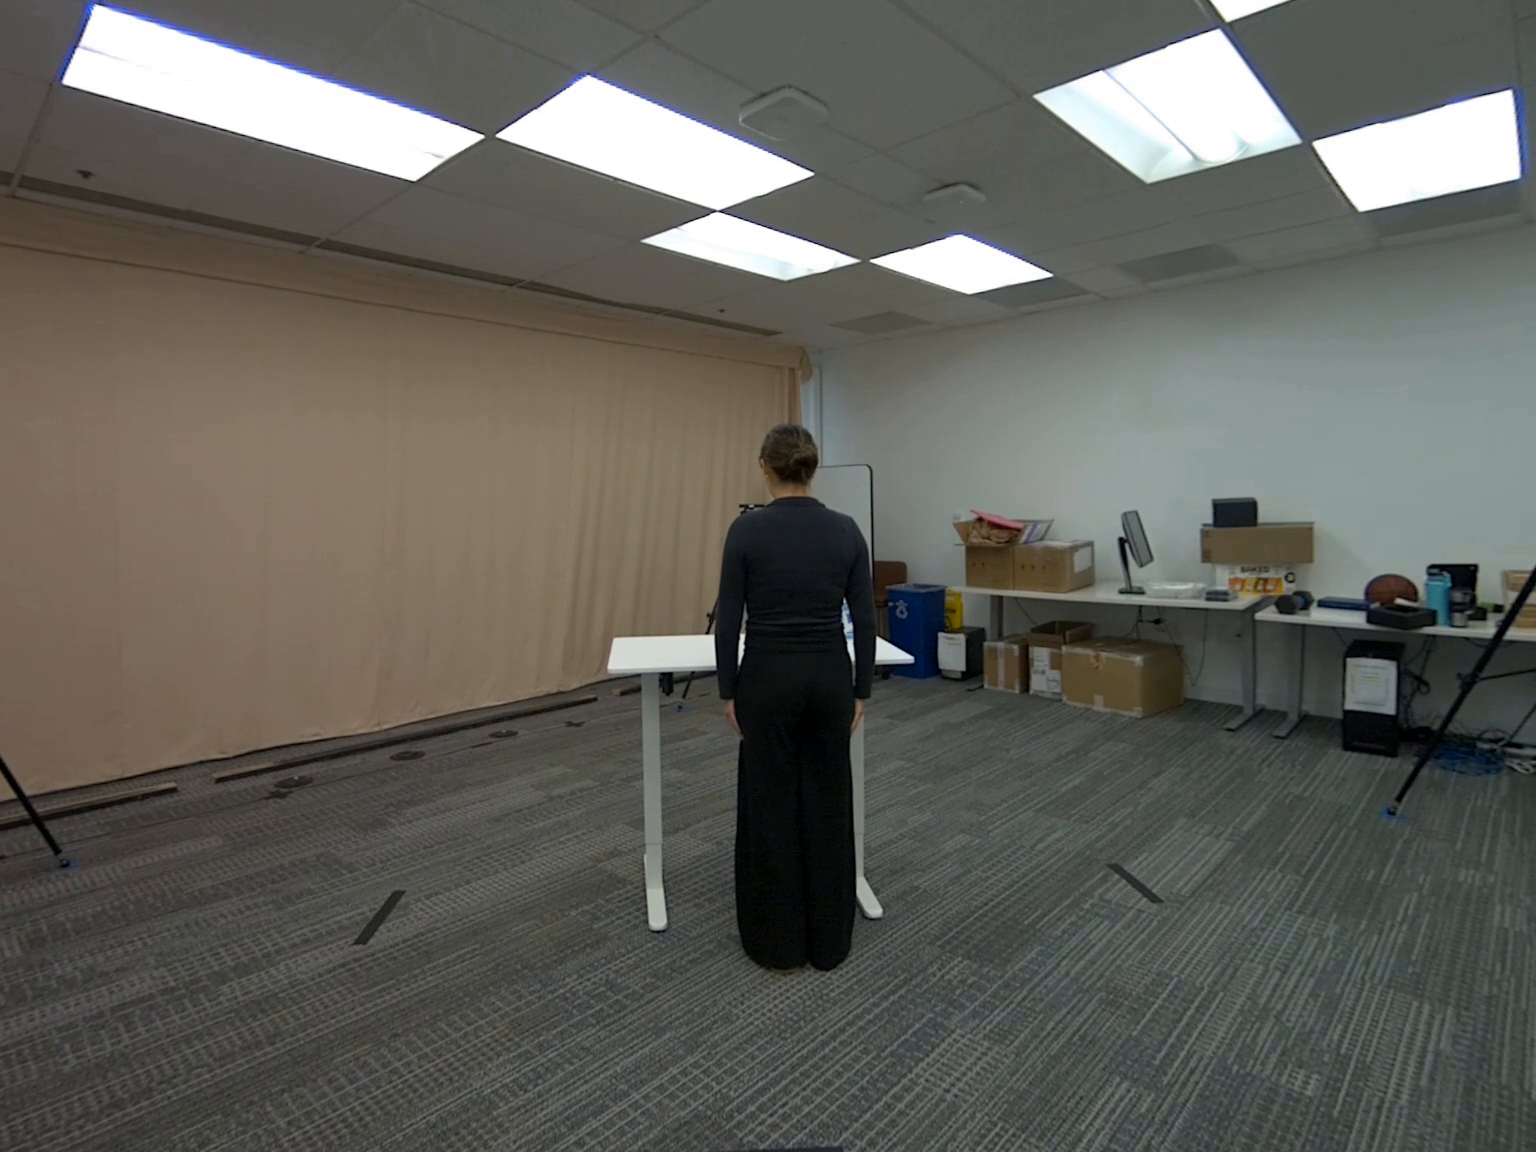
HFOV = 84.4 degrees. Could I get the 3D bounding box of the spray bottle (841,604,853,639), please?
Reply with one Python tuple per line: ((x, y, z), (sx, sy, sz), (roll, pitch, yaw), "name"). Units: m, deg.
((0.298, 0.091, 3.183), (0.088, 0.297, 0.089), (-2, 2, 13), "spray bottle")
